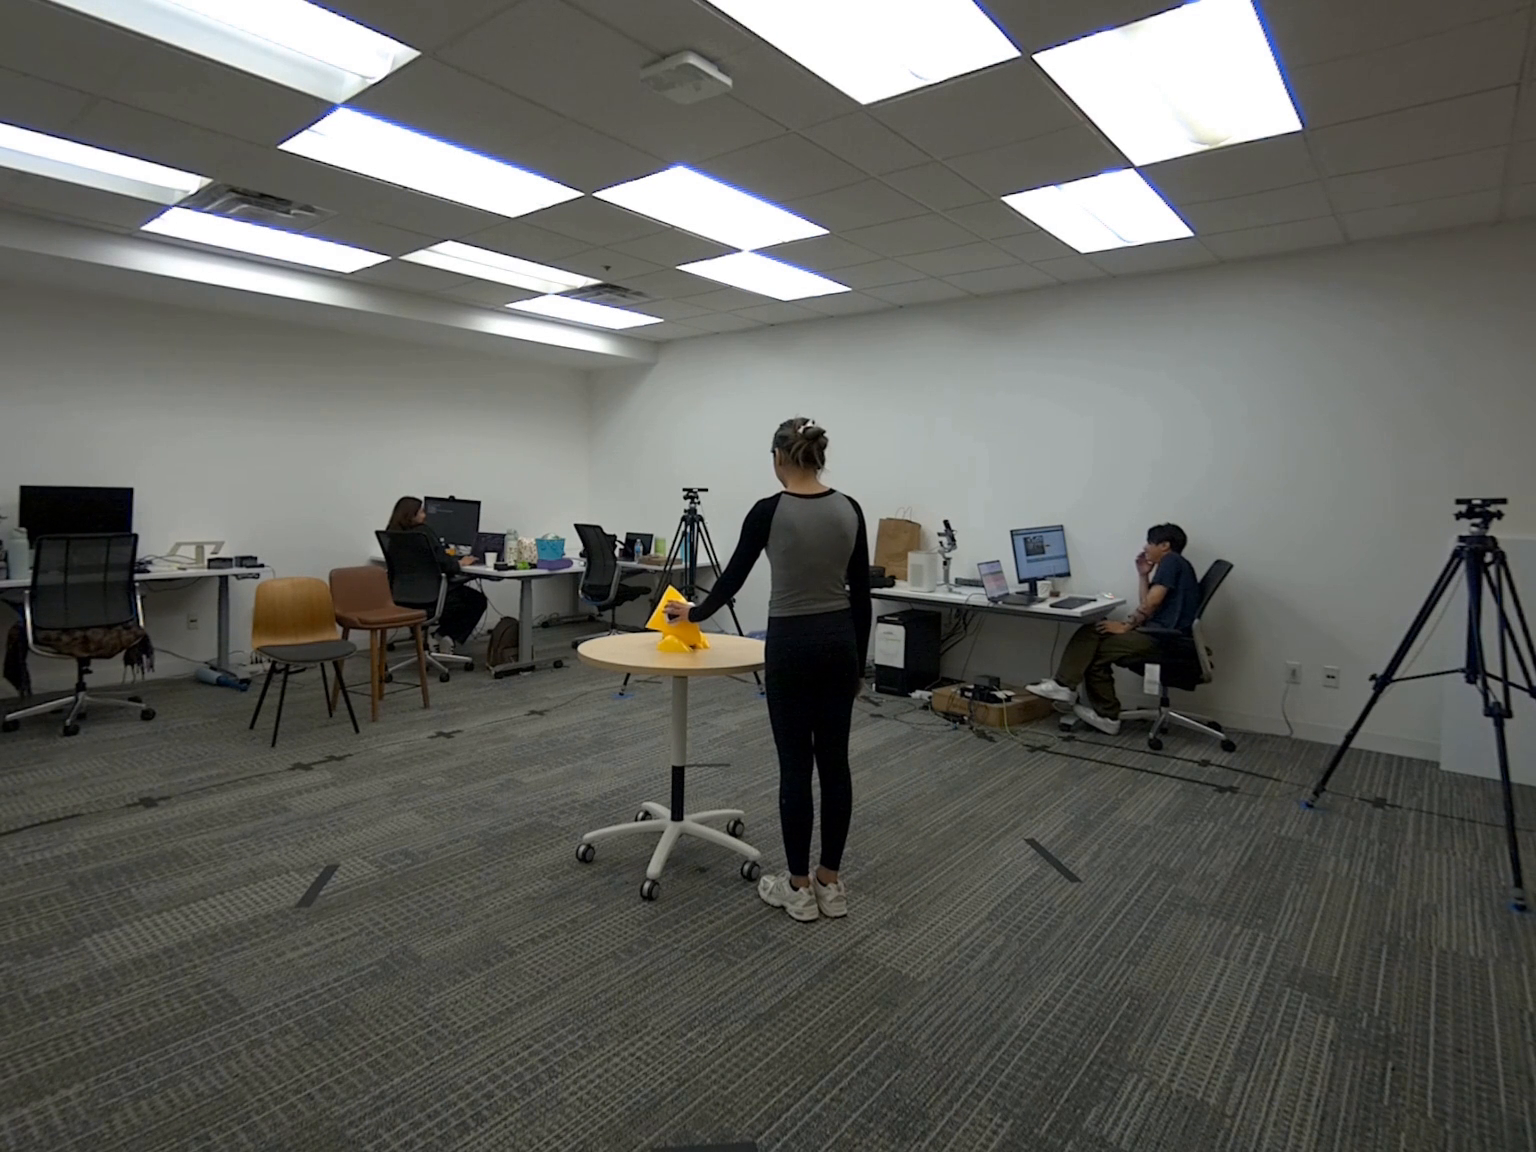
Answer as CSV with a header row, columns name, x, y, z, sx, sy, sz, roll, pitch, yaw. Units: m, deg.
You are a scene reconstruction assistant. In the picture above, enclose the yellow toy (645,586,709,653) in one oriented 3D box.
name,x,y,z,sx,sy,sz,roll,pitch,yaw
yellow toy,-0.332,0.154,3.195,0.199,0.230,0.199,4,4,33
